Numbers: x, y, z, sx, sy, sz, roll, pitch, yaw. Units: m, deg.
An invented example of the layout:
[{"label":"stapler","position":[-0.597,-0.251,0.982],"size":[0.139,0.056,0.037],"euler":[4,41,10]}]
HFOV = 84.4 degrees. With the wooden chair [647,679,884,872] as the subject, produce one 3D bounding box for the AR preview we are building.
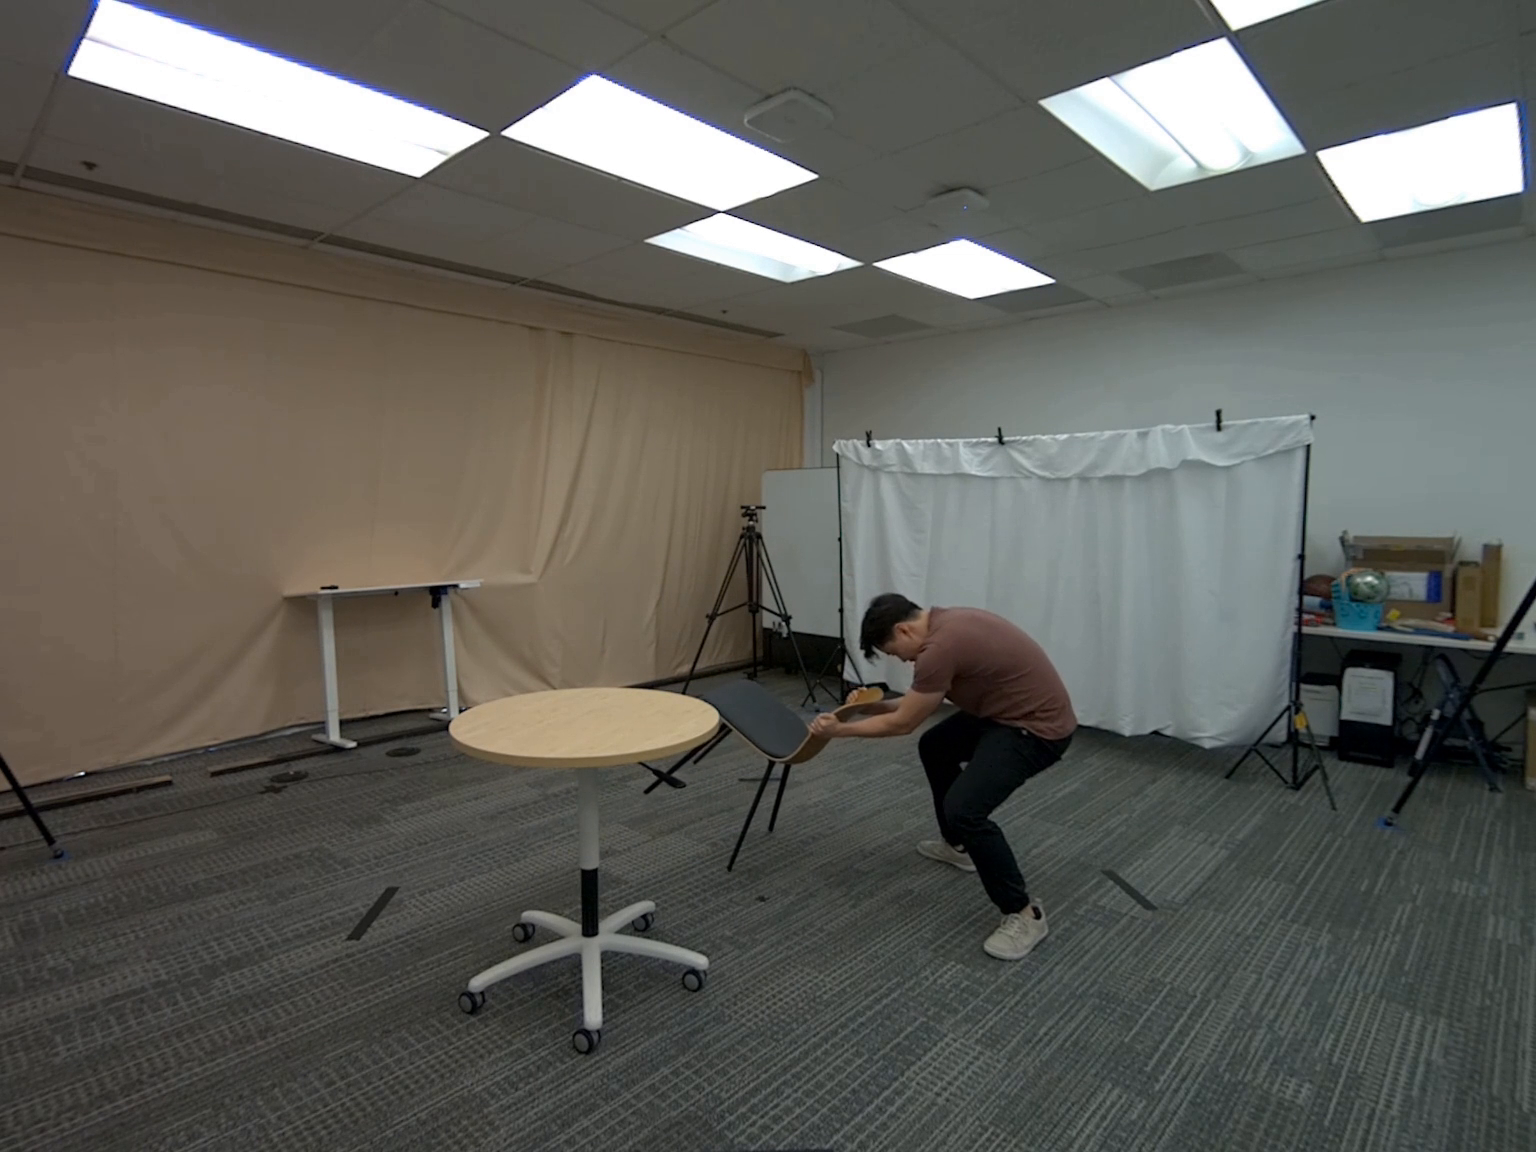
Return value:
[{"label":"wooden chair","position":[-0.023,0.625,3.354],"size":[0.534,0.879,0.467],"euler":[42,18,17]}]
